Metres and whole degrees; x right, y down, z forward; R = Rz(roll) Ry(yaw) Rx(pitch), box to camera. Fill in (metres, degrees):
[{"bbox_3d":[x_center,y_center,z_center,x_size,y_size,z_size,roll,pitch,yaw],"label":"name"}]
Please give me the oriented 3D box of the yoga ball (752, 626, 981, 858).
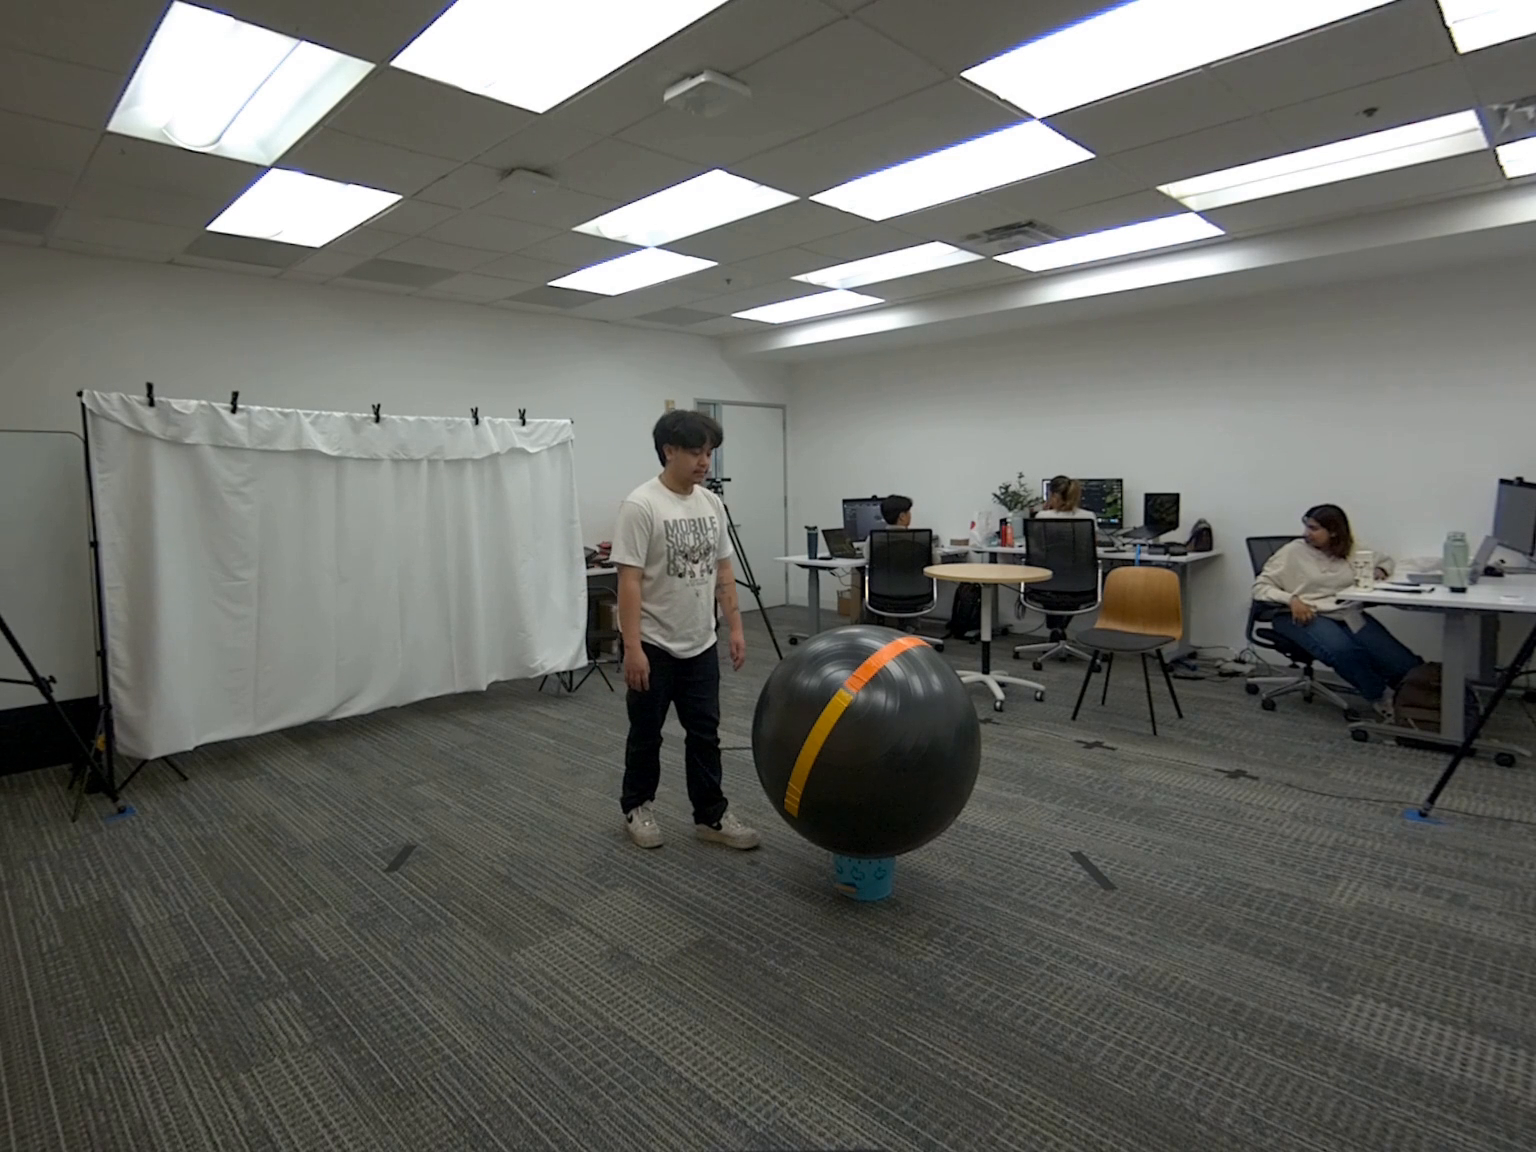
[{"bbox_3d":[0.323,0.551,2.872,0.757,0.755,0.762,-1,5,-2],"label":"yoga ball"}]
